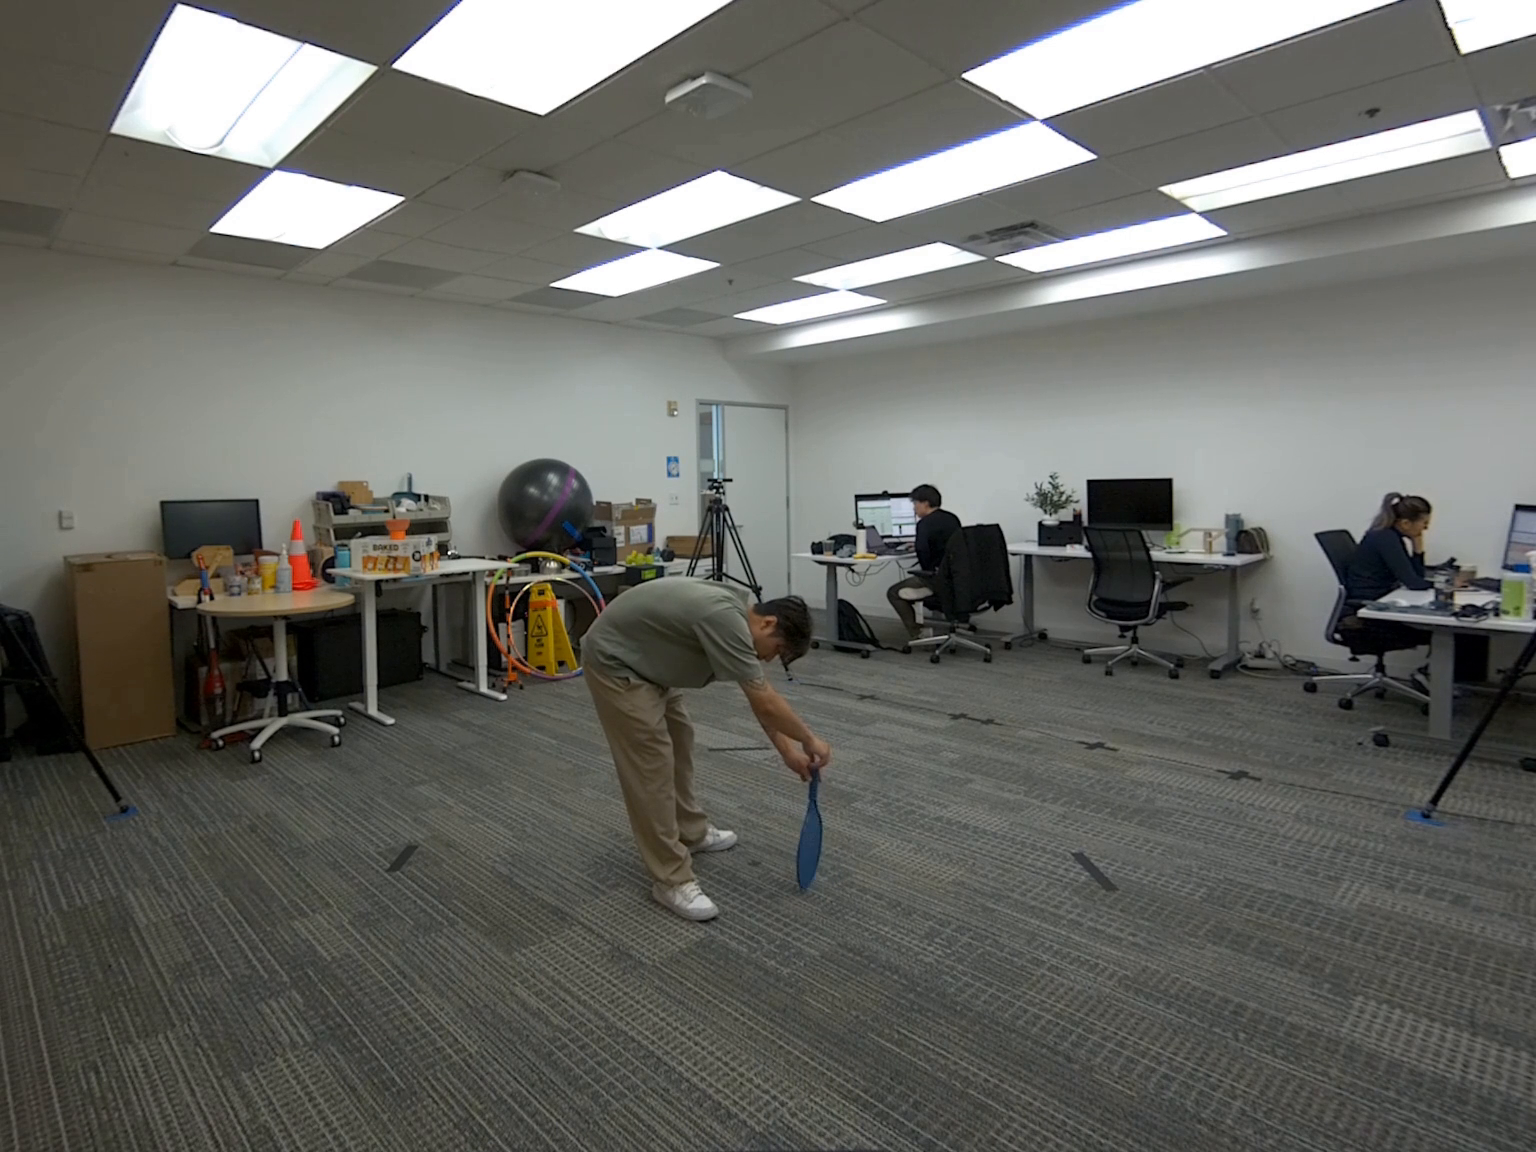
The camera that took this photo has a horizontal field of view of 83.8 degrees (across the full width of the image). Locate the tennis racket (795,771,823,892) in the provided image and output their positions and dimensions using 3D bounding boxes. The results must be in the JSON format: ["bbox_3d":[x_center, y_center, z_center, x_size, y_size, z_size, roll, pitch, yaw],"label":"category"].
[{"bbox_3d":[0.151,0.848,2.904,0.032,0.432,0.208,5,4,29],"label":"tennis racket"}]
